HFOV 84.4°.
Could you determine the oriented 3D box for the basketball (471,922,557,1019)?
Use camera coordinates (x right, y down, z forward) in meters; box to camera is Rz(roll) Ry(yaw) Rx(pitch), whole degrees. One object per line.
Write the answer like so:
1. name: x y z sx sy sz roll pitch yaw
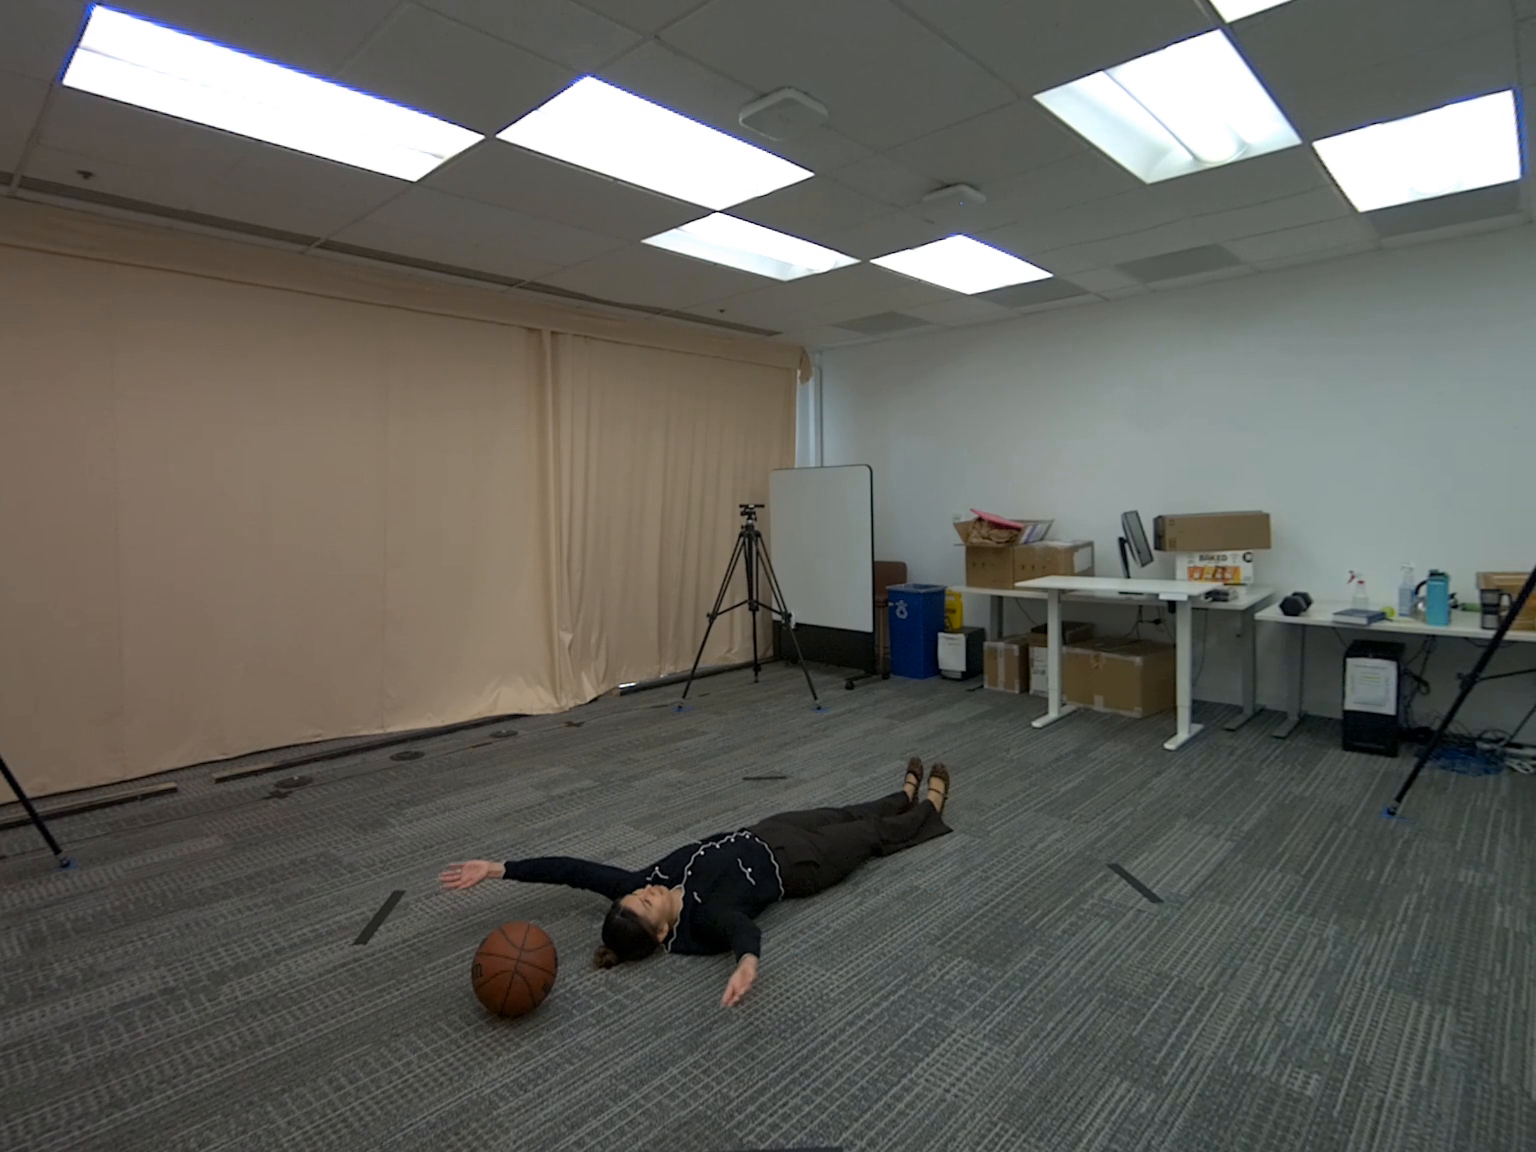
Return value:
1. basketball: -0.705 1.091 2.340 0.236 0.235 0.237 -1 4 -2
